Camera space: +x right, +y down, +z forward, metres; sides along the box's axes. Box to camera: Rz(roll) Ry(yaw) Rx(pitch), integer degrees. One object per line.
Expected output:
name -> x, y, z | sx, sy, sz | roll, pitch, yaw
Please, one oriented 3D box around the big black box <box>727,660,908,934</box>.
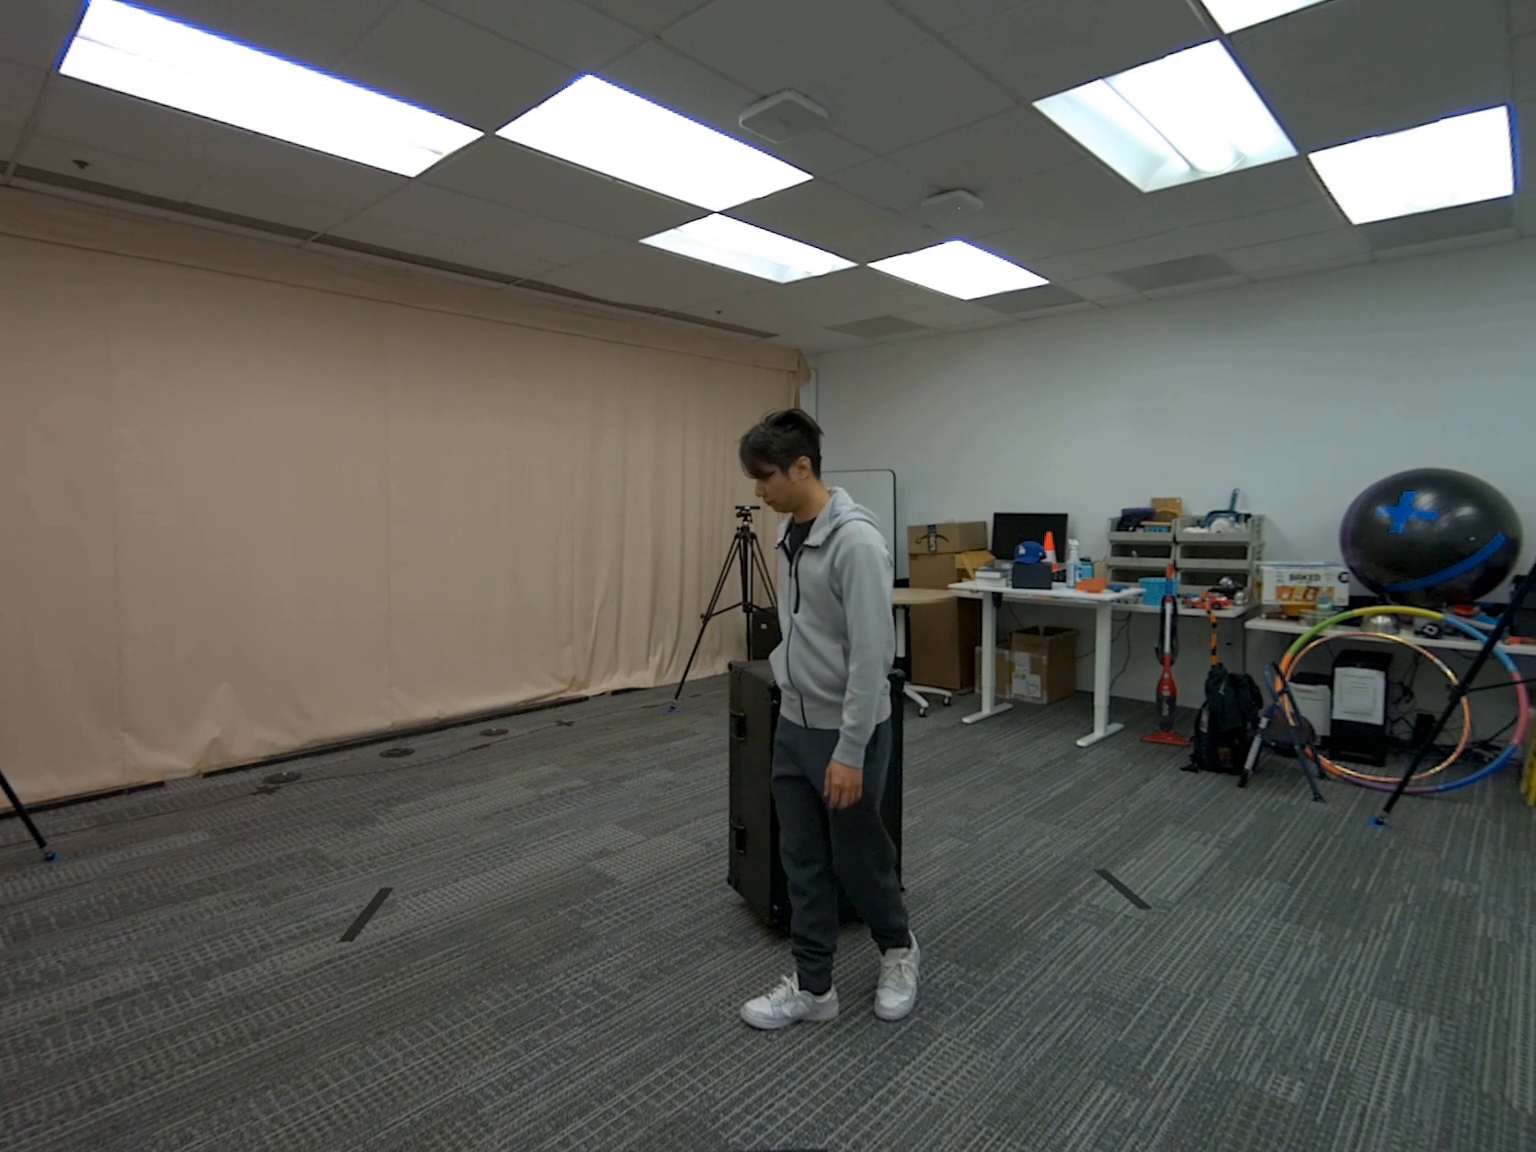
big black box -> 0.167, 0.729, 2.842 | 0.510, 0.859, 0.406 | -1, 5, -22
